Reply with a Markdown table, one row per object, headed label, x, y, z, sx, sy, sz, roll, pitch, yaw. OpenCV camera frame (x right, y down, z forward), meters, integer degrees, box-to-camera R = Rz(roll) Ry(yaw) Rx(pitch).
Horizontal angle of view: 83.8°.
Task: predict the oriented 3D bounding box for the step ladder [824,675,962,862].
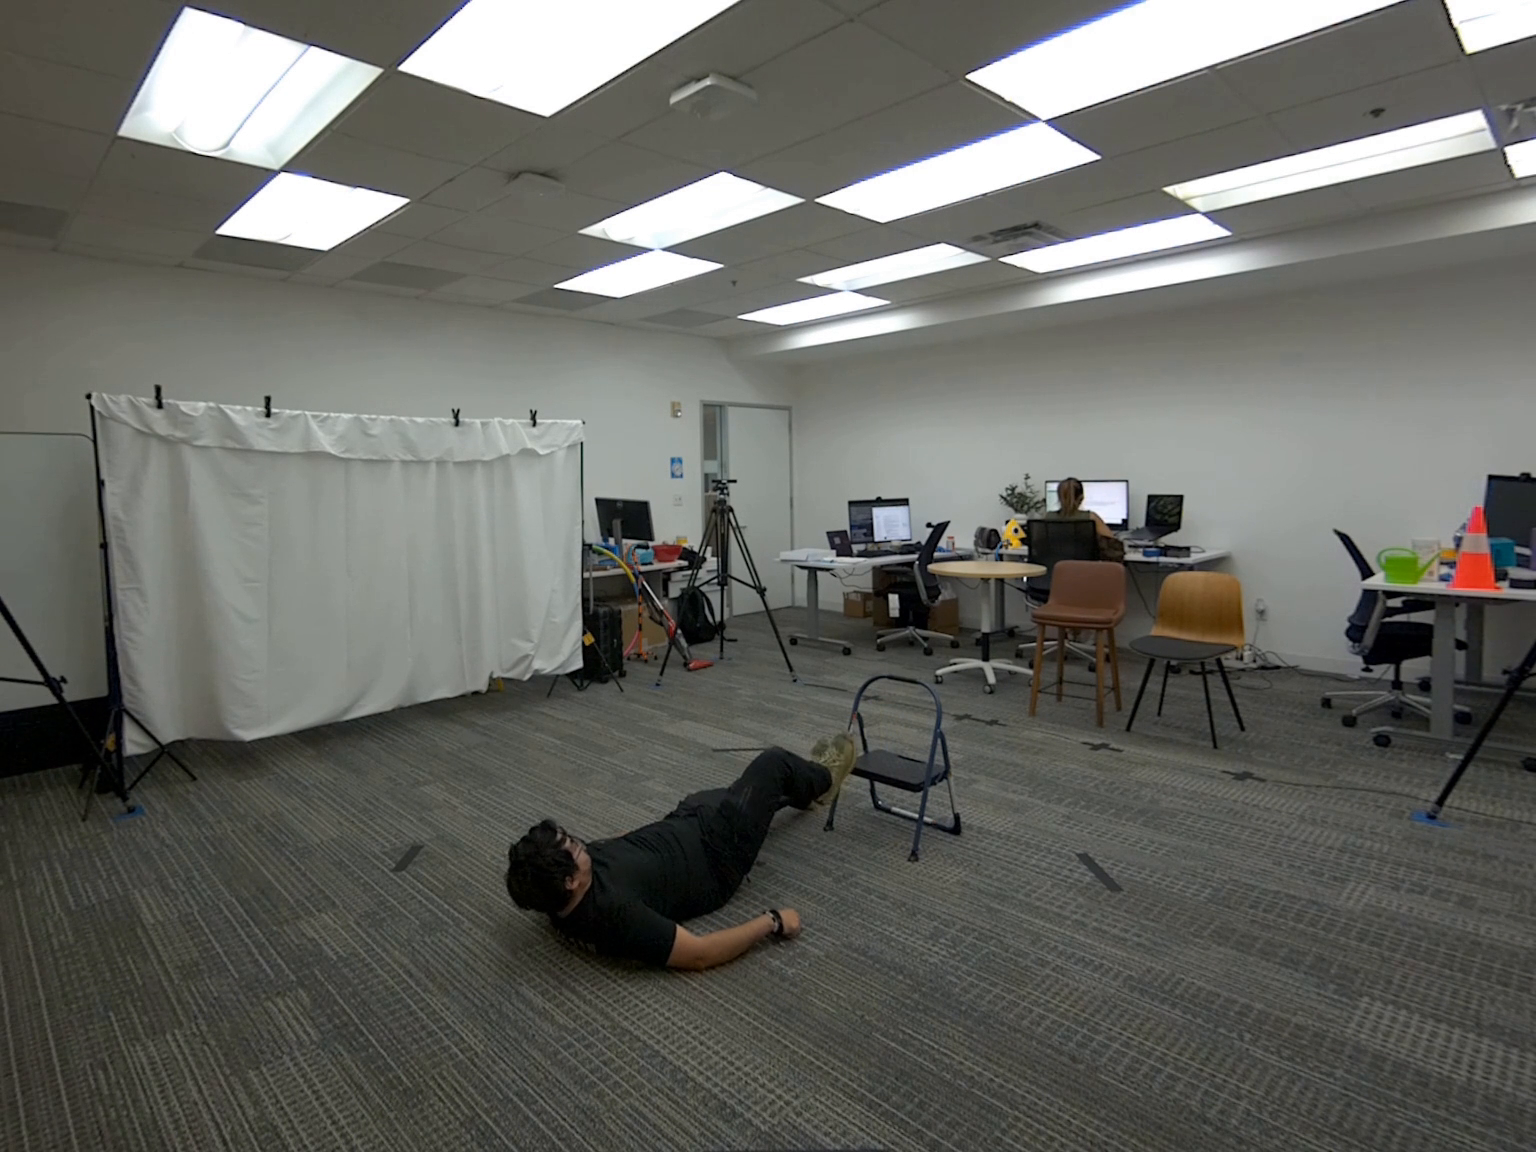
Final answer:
| label | x | y | z | sx | sy | sz | roll | pitch | yaw |
| --- | --- | --- | --- | --- | --- | --- | --- | --- | --- |
| step ladder | 0.493 | 0.707 | 3.352 | 0.444 | 0.604 | 0.340 | 4 | 6 | 45 |
